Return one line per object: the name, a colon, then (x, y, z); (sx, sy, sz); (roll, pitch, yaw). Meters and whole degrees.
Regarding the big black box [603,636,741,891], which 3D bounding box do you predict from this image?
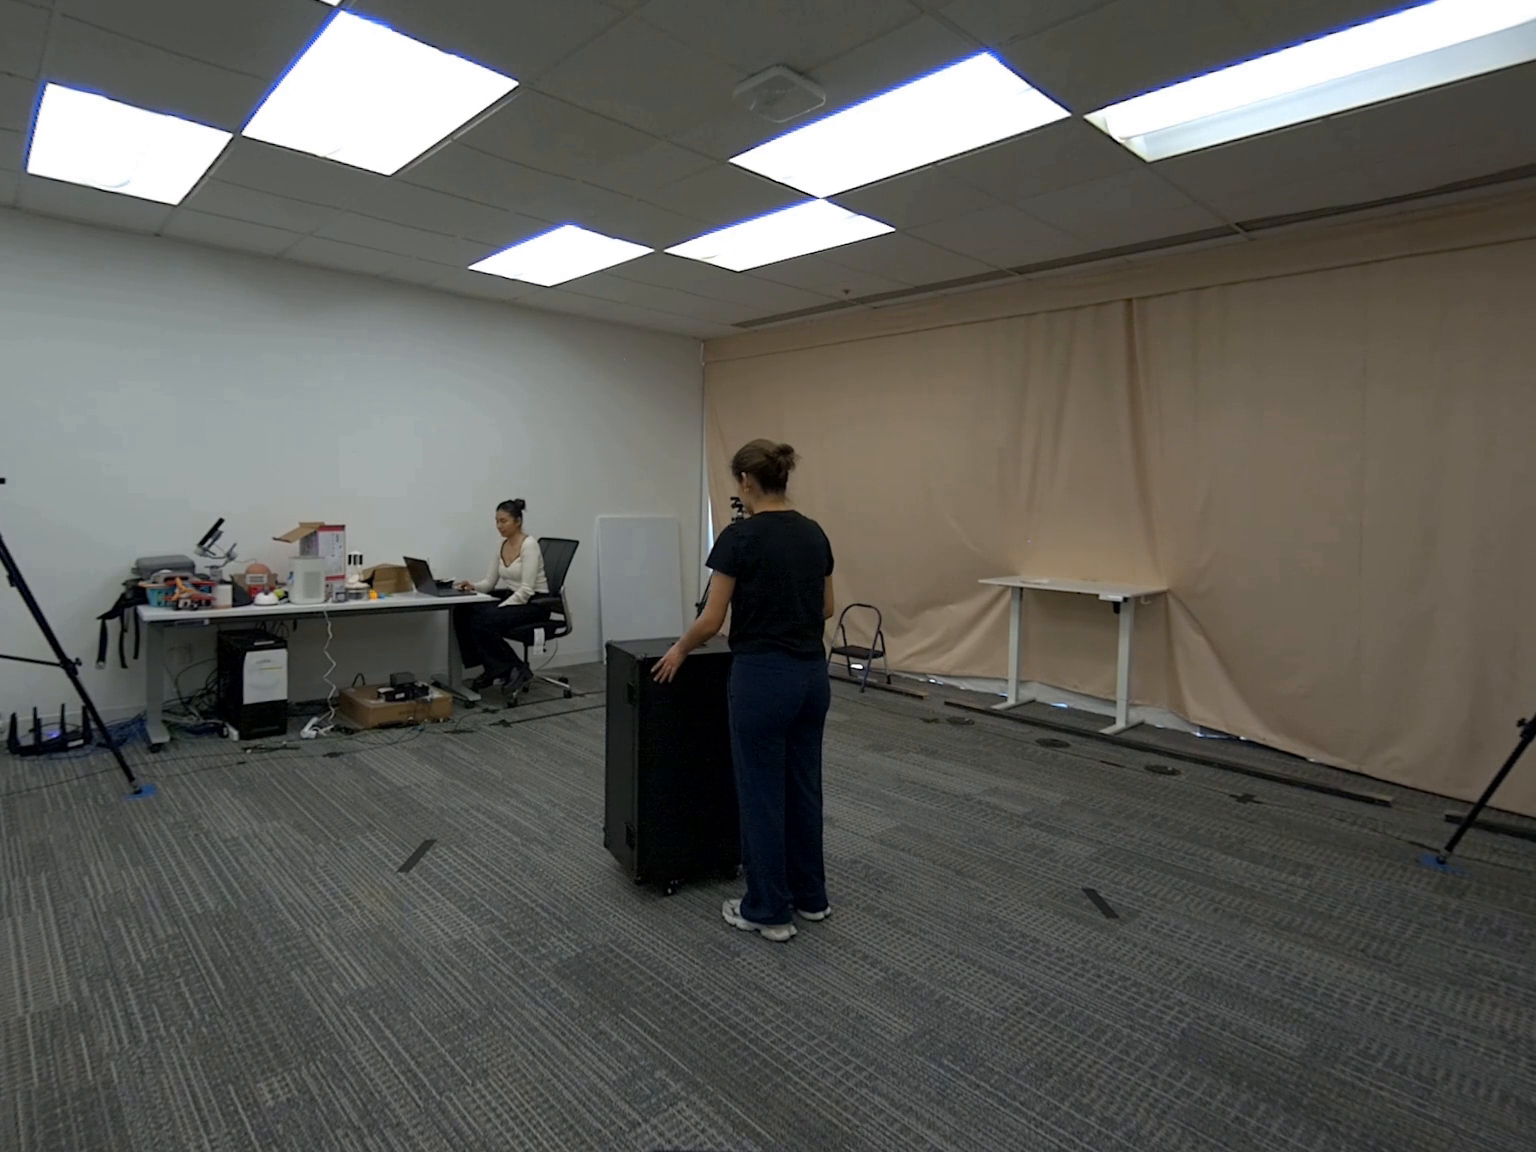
big black box: (-0.333, 0.679, 3.103); (0.511, 0.860, 0.404); (-1, 3, -28)
